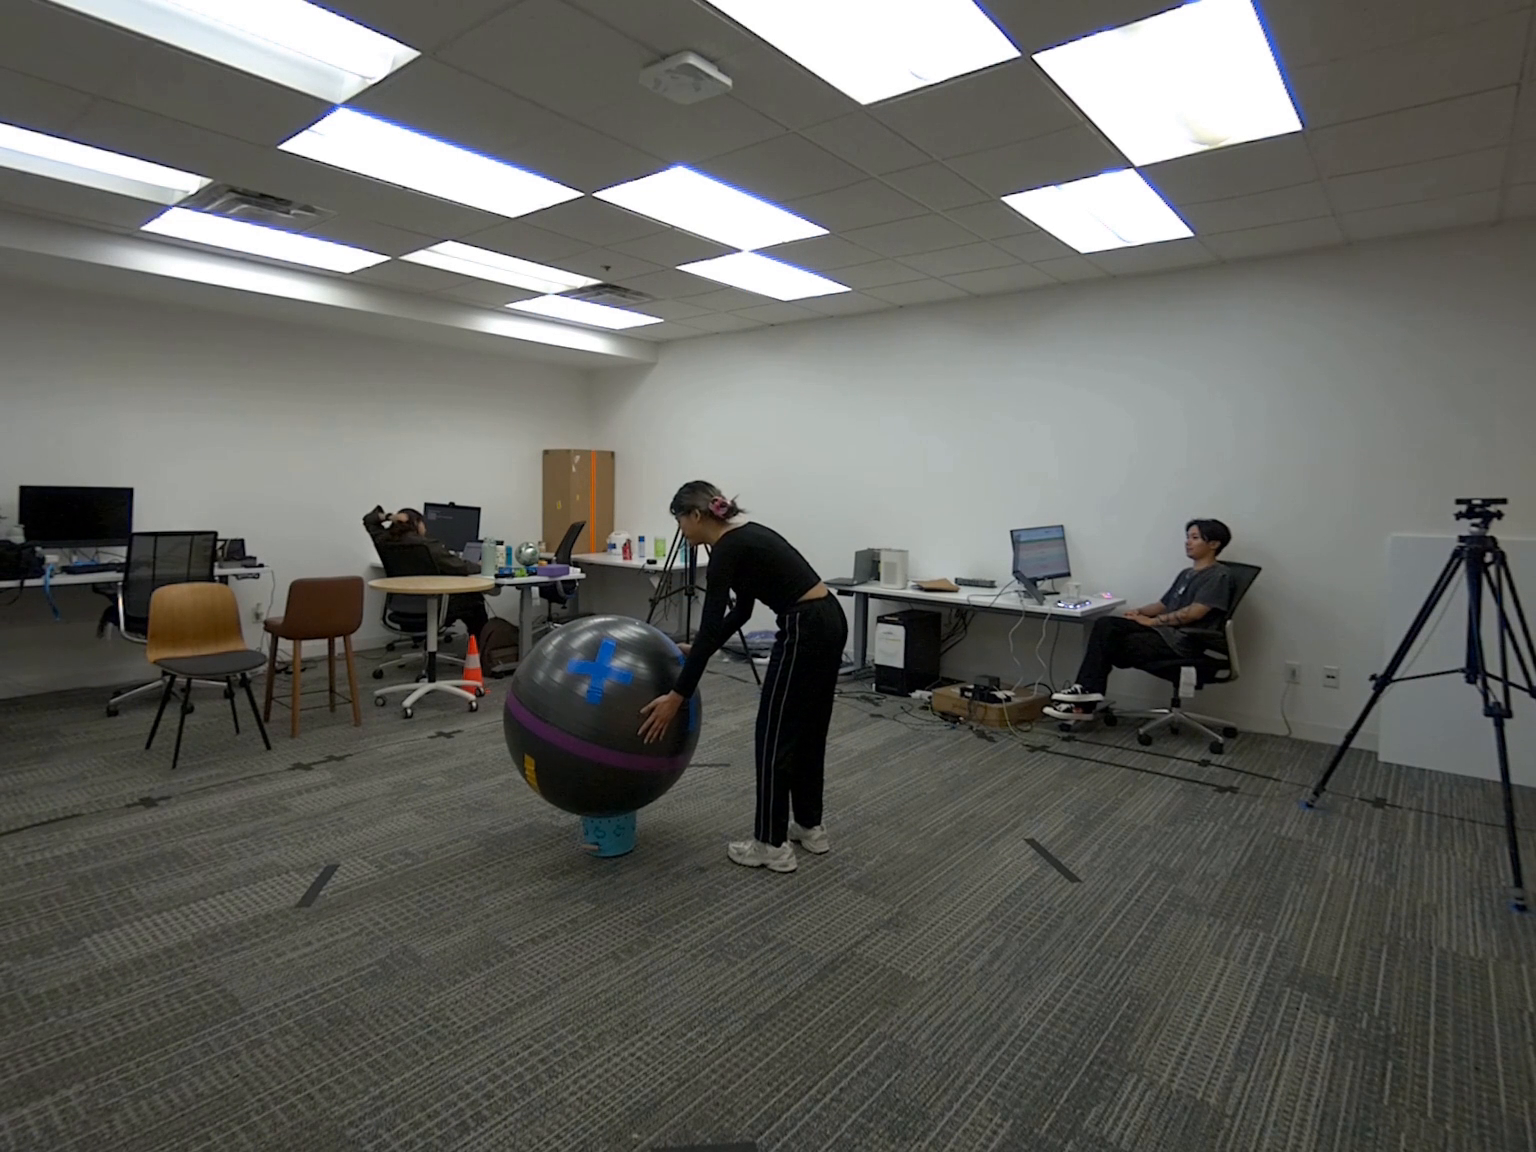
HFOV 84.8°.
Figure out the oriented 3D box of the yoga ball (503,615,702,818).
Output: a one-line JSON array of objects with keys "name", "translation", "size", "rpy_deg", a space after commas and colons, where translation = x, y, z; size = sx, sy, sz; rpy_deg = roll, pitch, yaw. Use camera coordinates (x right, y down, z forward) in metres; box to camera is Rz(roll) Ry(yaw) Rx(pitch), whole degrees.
[{"name": "yoga ball", "translation": [-0.639, 0.532, 3.277], "size": [0.757, 0.755, 0.762], "rpy_deg": [1, 4, -2]}]
